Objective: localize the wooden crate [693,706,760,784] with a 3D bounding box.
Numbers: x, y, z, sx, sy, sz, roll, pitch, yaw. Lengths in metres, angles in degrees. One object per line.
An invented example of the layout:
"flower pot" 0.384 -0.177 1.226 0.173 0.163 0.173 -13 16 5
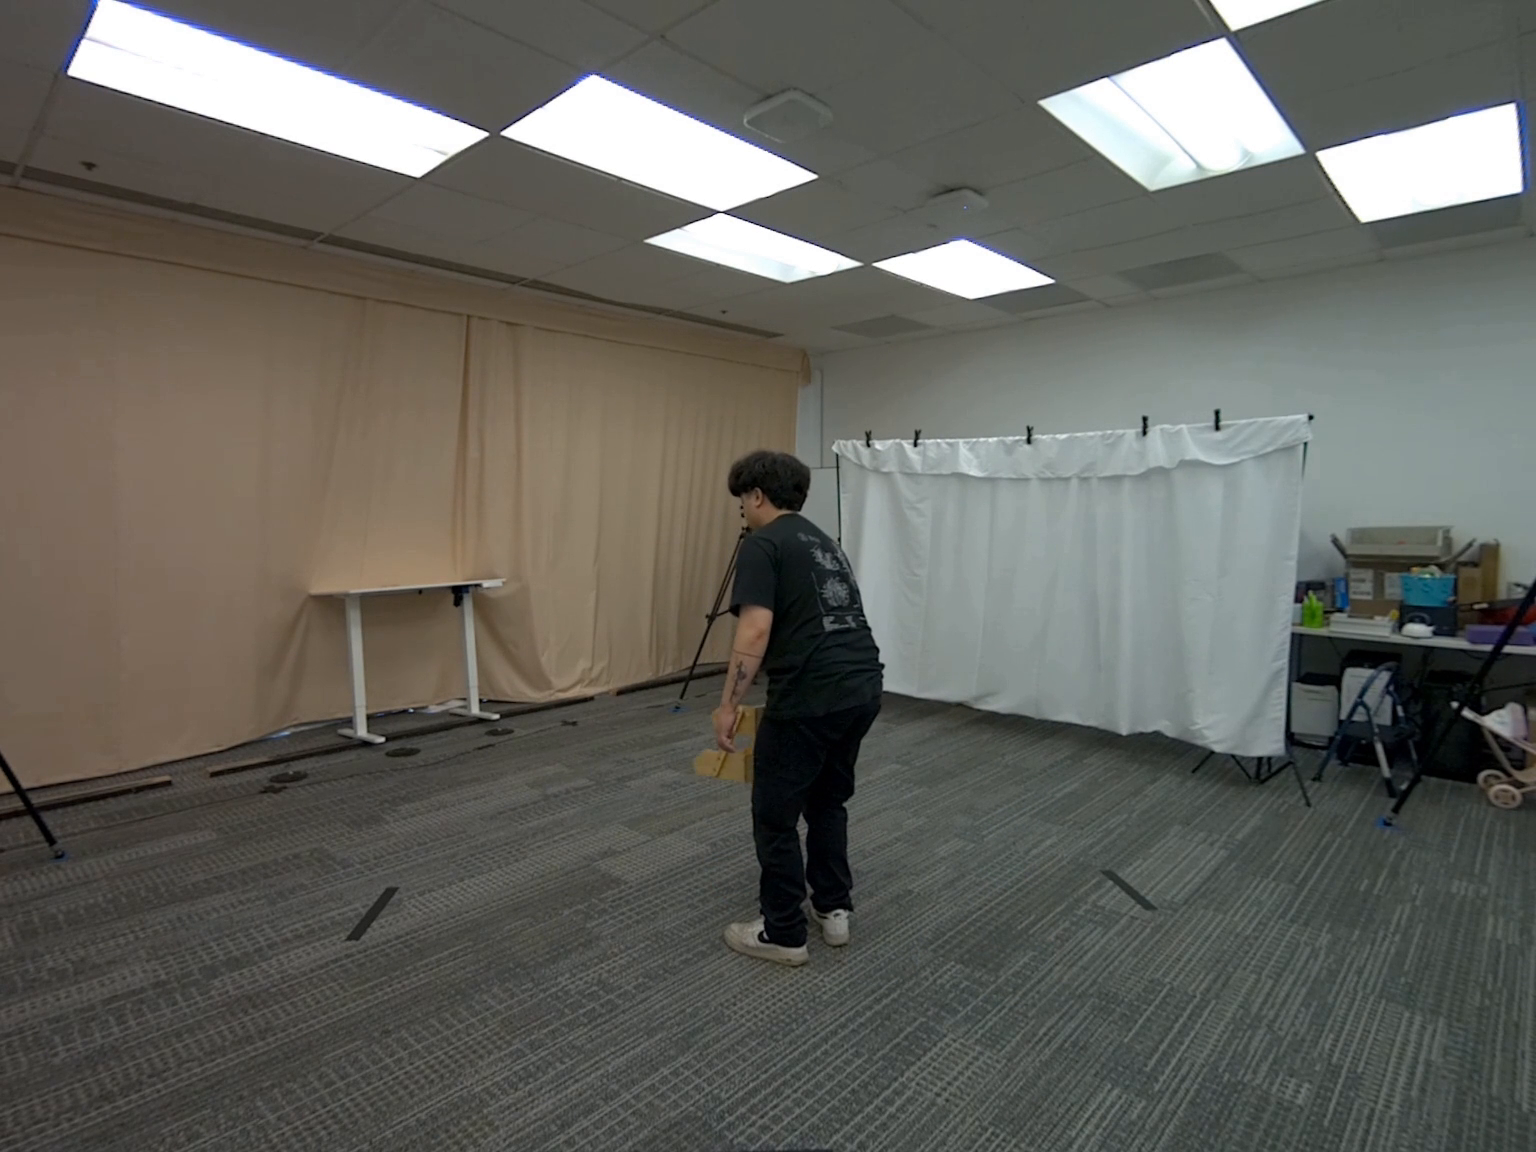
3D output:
"wooden crate" -0.069 0.578 3.064 0.311 0.273 0.314 -1 -2 38
